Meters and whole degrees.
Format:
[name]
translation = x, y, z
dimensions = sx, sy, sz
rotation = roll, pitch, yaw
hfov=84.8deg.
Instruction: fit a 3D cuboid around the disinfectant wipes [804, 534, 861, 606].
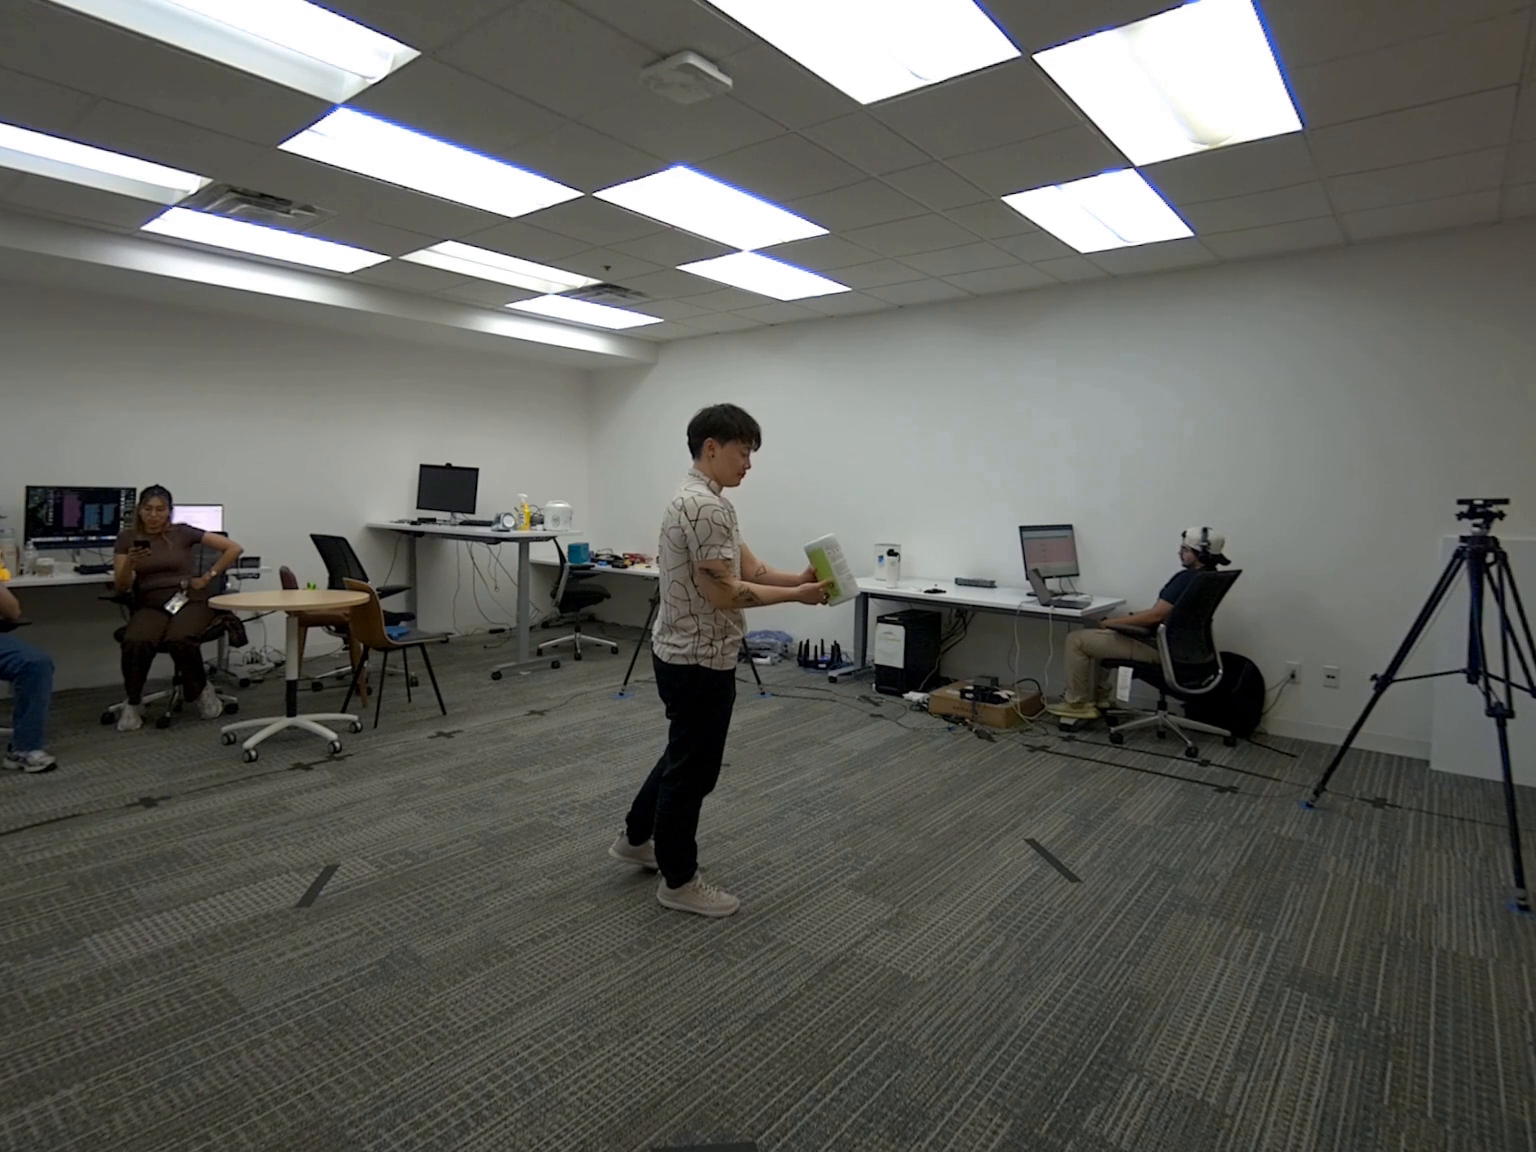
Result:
[disinfectant wipes]
translation = 0.192, -0.028, 2.737
dimensions = 0.118, 0.216, 0.118
rotation = -23, 4, 0
